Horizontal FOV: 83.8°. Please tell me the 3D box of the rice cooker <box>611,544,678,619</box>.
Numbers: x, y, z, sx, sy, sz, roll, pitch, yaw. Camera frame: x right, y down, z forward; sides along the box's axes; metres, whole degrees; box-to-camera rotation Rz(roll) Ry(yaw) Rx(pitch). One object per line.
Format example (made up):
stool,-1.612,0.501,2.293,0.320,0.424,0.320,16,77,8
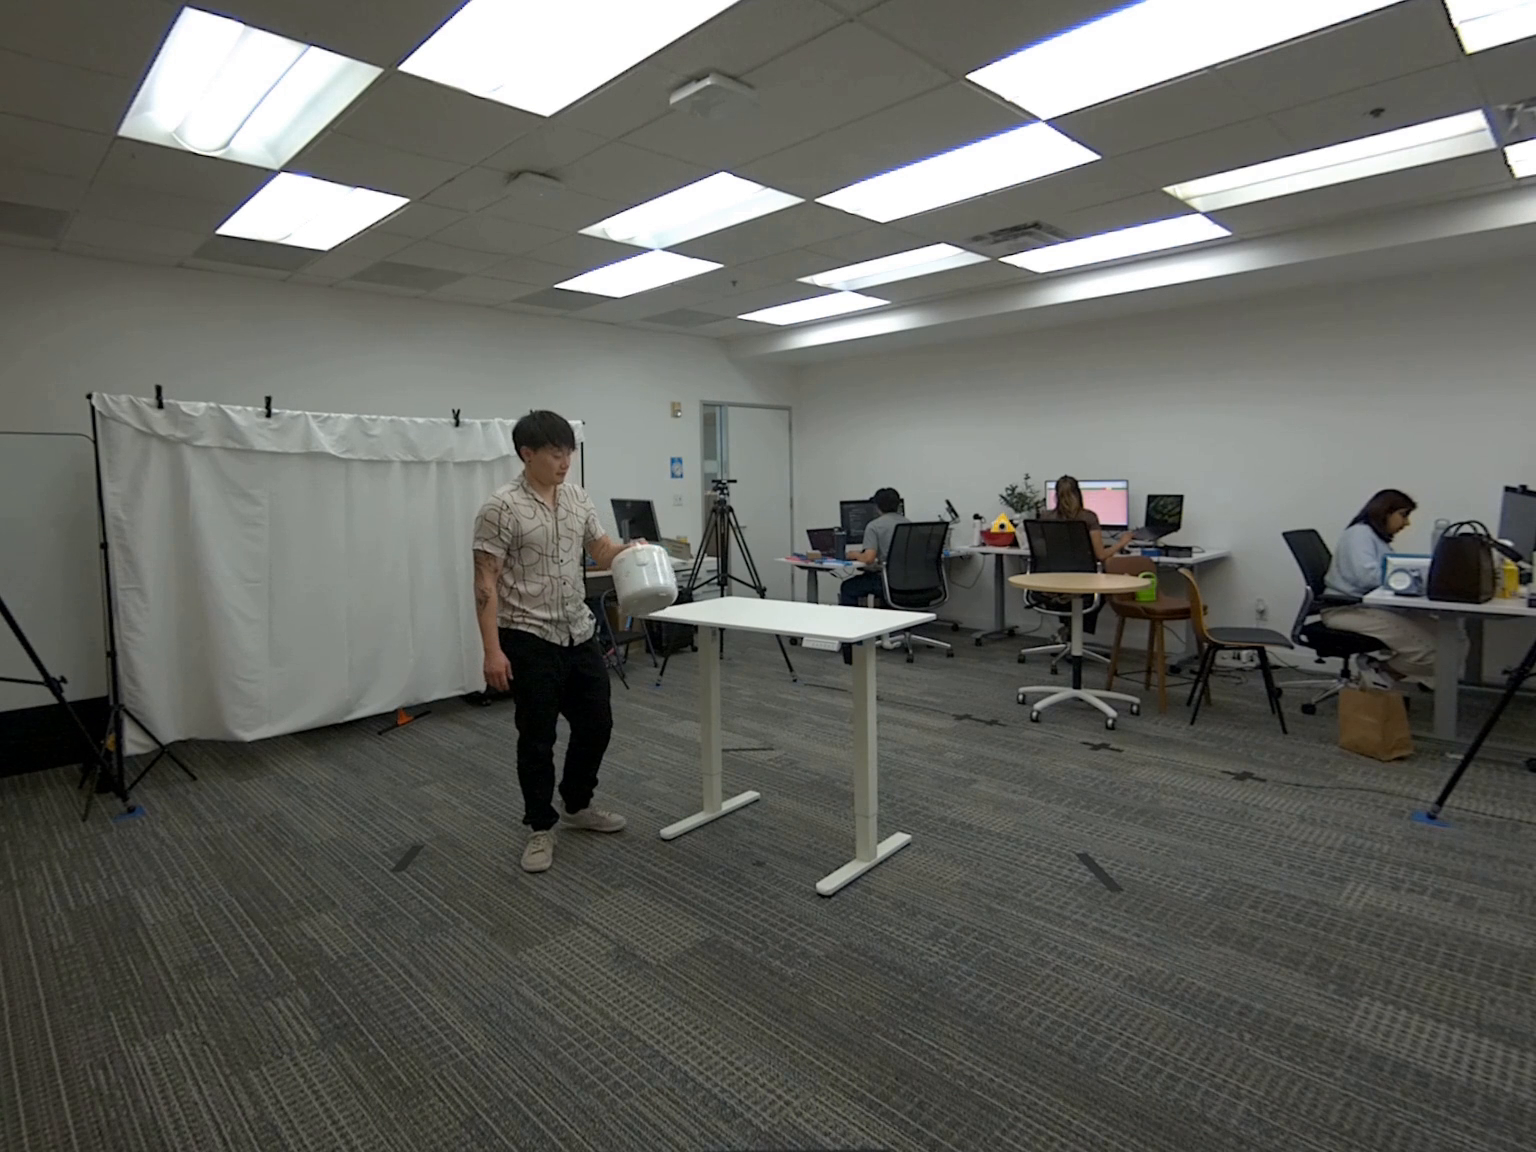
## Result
rice cooker,-0.452,0.004,3.088,0.216,0.239,0.216,-13,-24,-11
